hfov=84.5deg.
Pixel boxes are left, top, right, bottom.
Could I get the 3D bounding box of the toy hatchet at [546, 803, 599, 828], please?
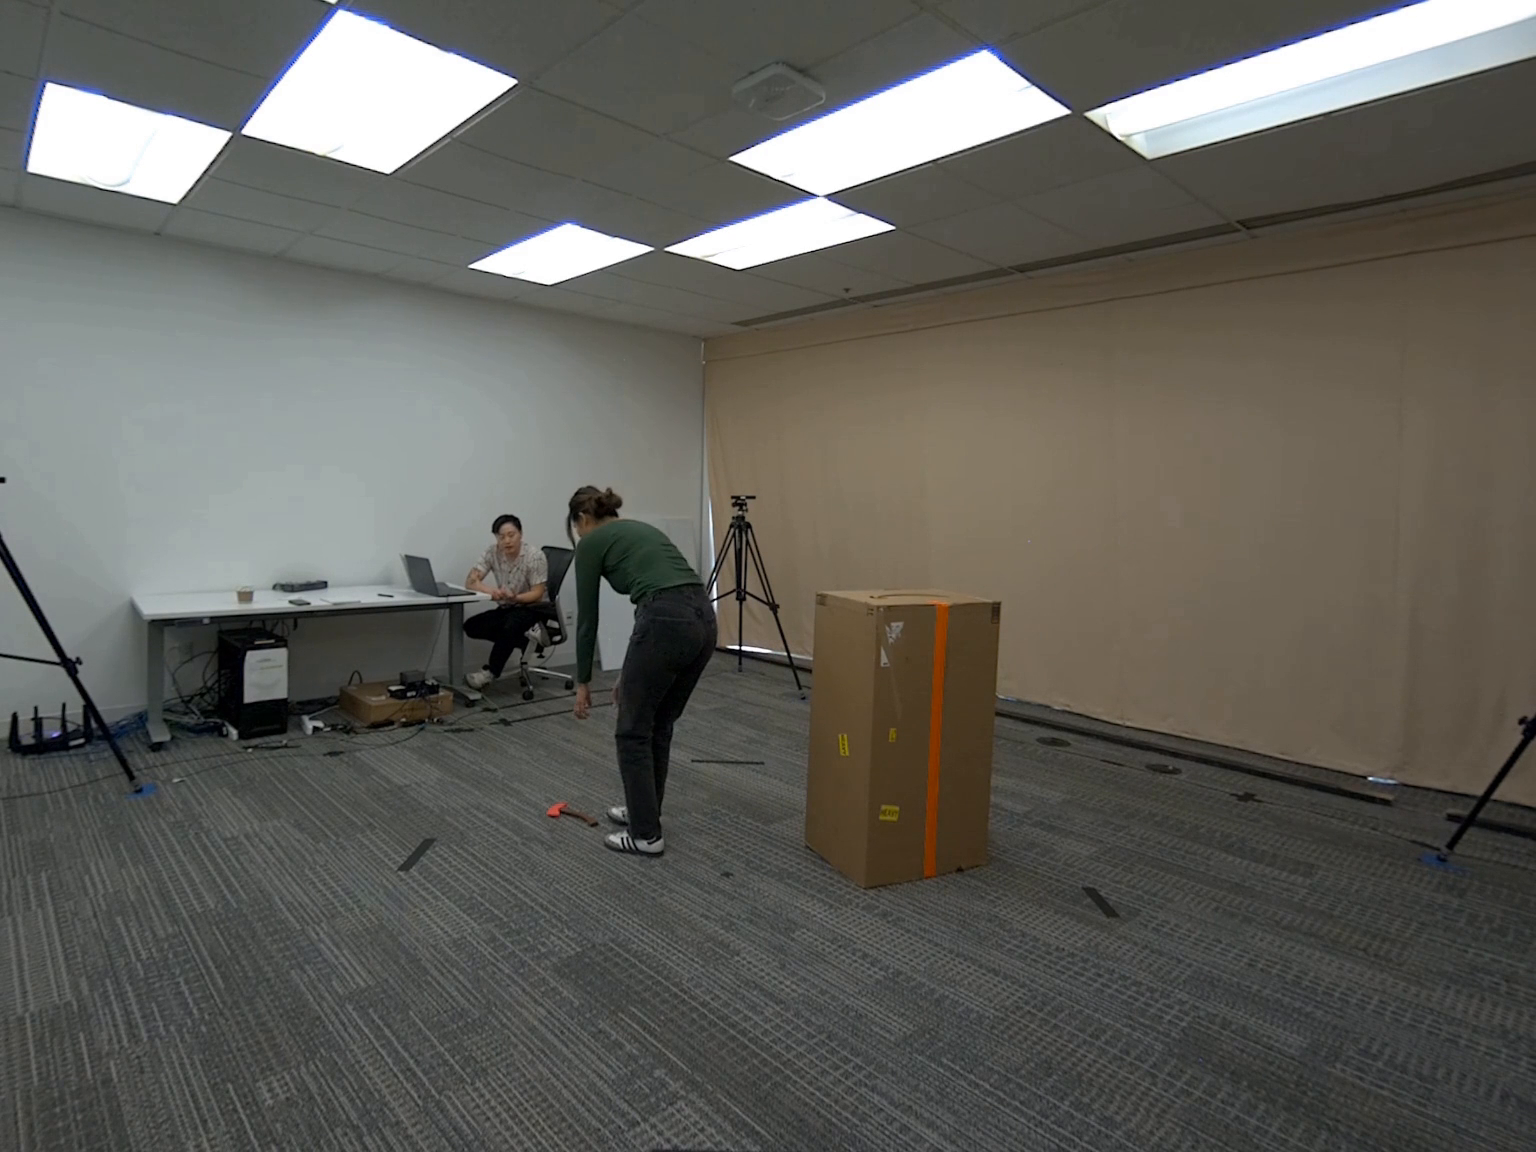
[{"bbox_3d":[-0.848,1.023,3.598,0.128,0.029,0.277,-3,8,-42],"label":"toy hatchet"}]
